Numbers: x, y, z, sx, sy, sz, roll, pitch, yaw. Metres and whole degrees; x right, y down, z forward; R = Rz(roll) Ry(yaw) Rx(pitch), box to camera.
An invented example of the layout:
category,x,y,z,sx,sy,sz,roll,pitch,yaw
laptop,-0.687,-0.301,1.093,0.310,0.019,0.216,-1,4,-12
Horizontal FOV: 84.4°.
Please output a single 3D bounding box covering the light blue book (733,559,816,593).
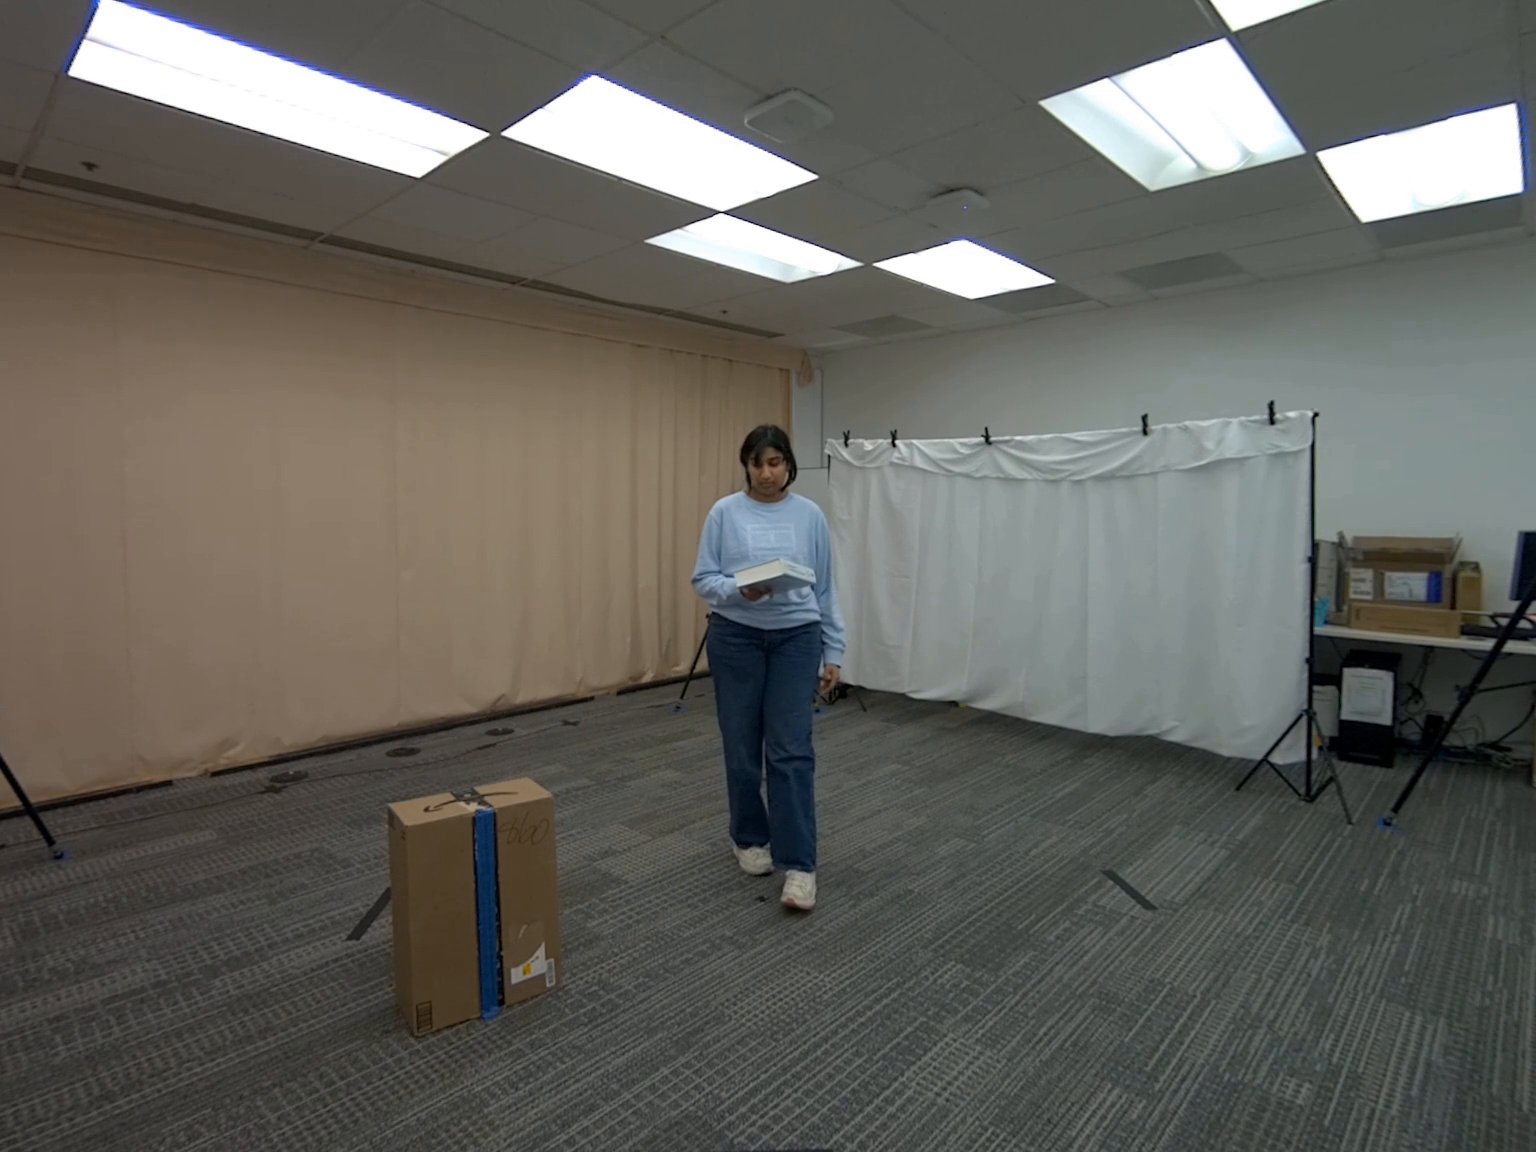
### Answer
category,x,y,z,sx,sy,sz,roll,pitch,yaw
light blue book,0.012,0.007,2.872,0.195,0.060,0.253,-15,-14,24
